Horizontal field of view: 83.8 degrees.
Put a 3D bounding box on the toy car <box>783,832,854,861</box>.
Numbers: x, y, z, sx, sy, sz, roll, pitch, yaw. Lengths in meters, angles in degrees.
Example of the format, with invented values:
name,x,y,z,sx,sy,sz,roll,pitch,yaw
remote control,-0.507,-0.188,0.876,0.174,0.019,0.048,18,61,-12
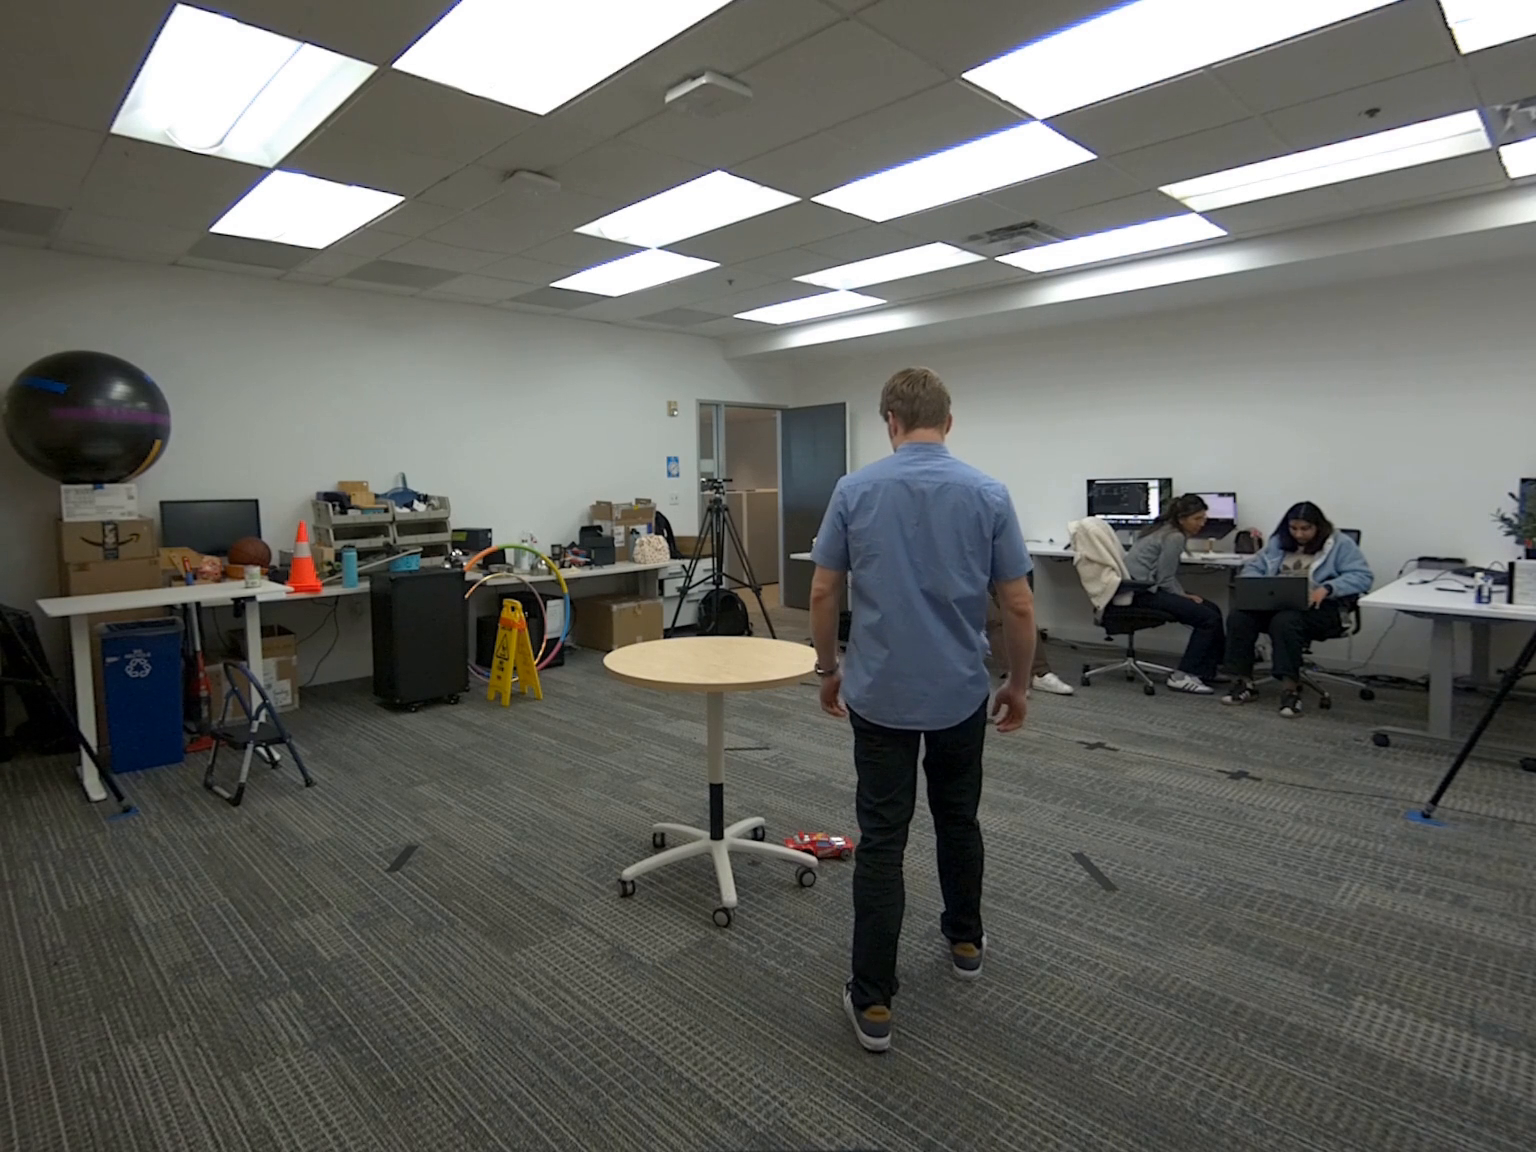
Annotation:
name,x,y,z,sx,sy,sz,roll,pitch,yaw
toy car,0.192,1.002,3.163,0.253,0.083,0.131,9,3,-6
